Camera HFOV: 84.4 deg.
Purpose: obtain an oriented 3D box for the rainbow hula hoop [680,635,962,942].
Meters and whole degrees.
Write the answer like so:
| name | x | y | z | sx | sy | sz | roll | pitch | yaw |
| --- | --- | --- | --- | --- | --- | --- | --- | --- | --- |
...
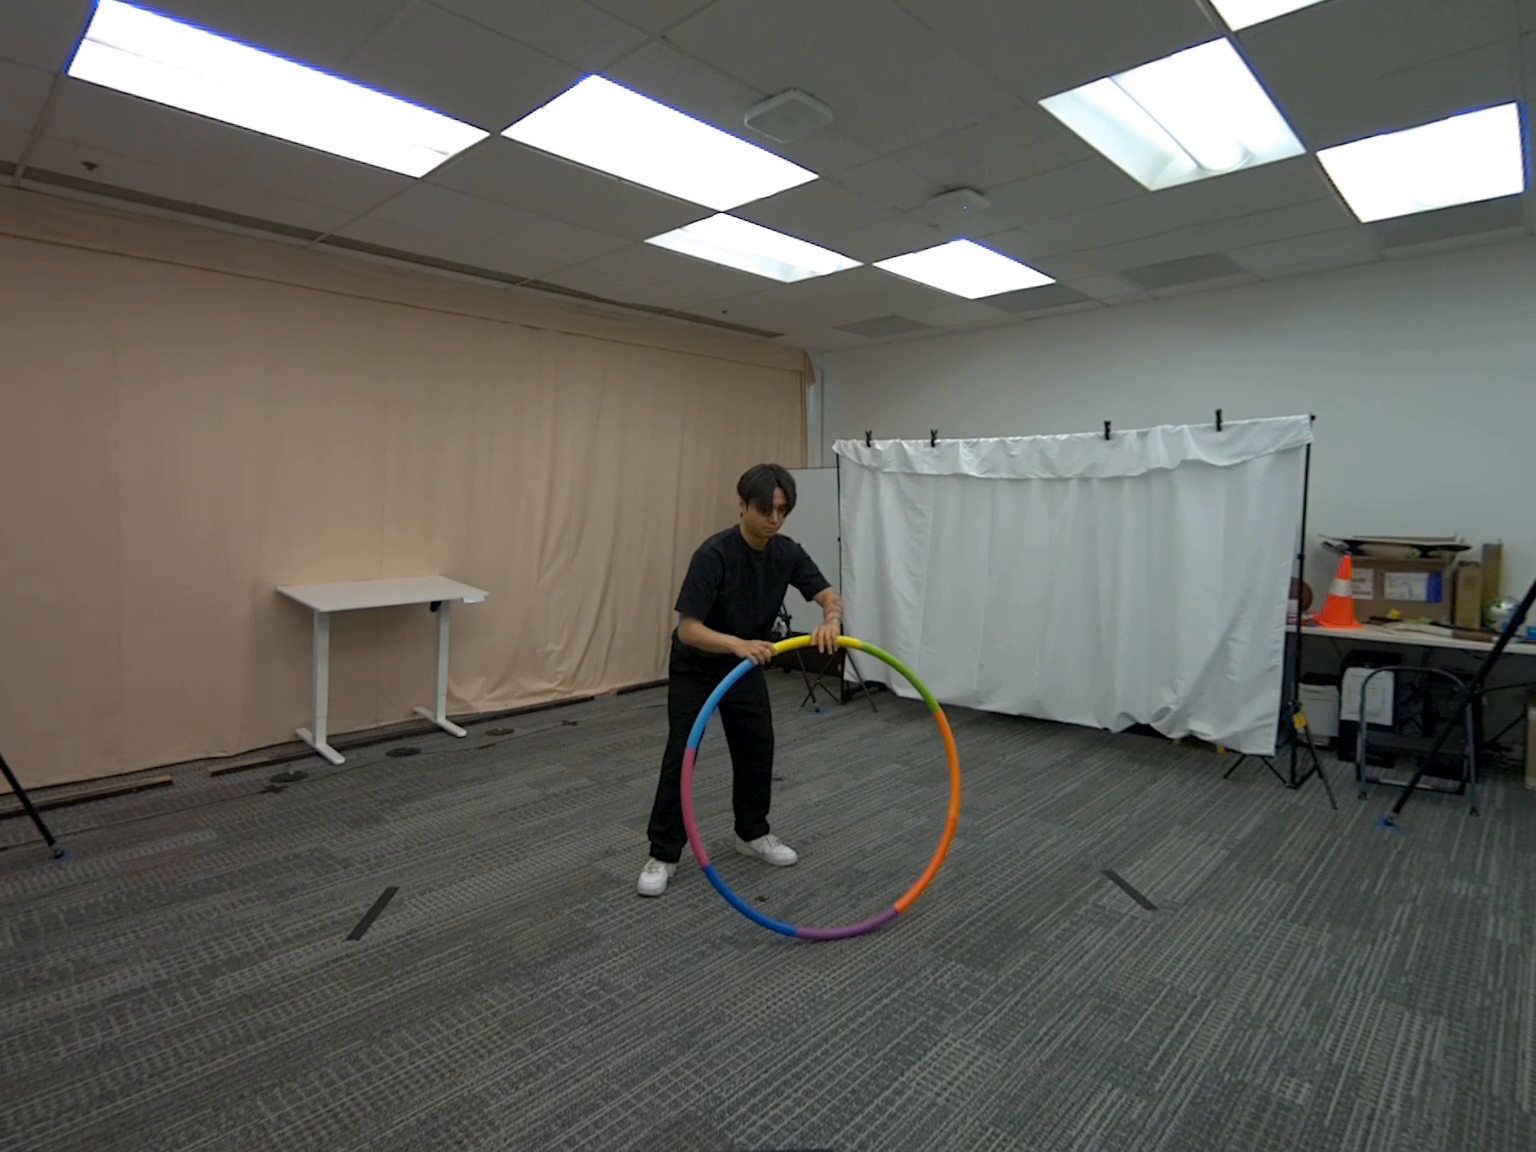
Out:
| name | x | y | z | sx | sy | sz | roll | pitch | yaw |
| --- | --- | --- | --- | --- | --- | --- | --- | --- | --- |
| rainbow hula hoop | 0.208 | 0.686 | 2.771 | 0.960 | 0.984 | 0.036 | -2 | -8 | -18 |
